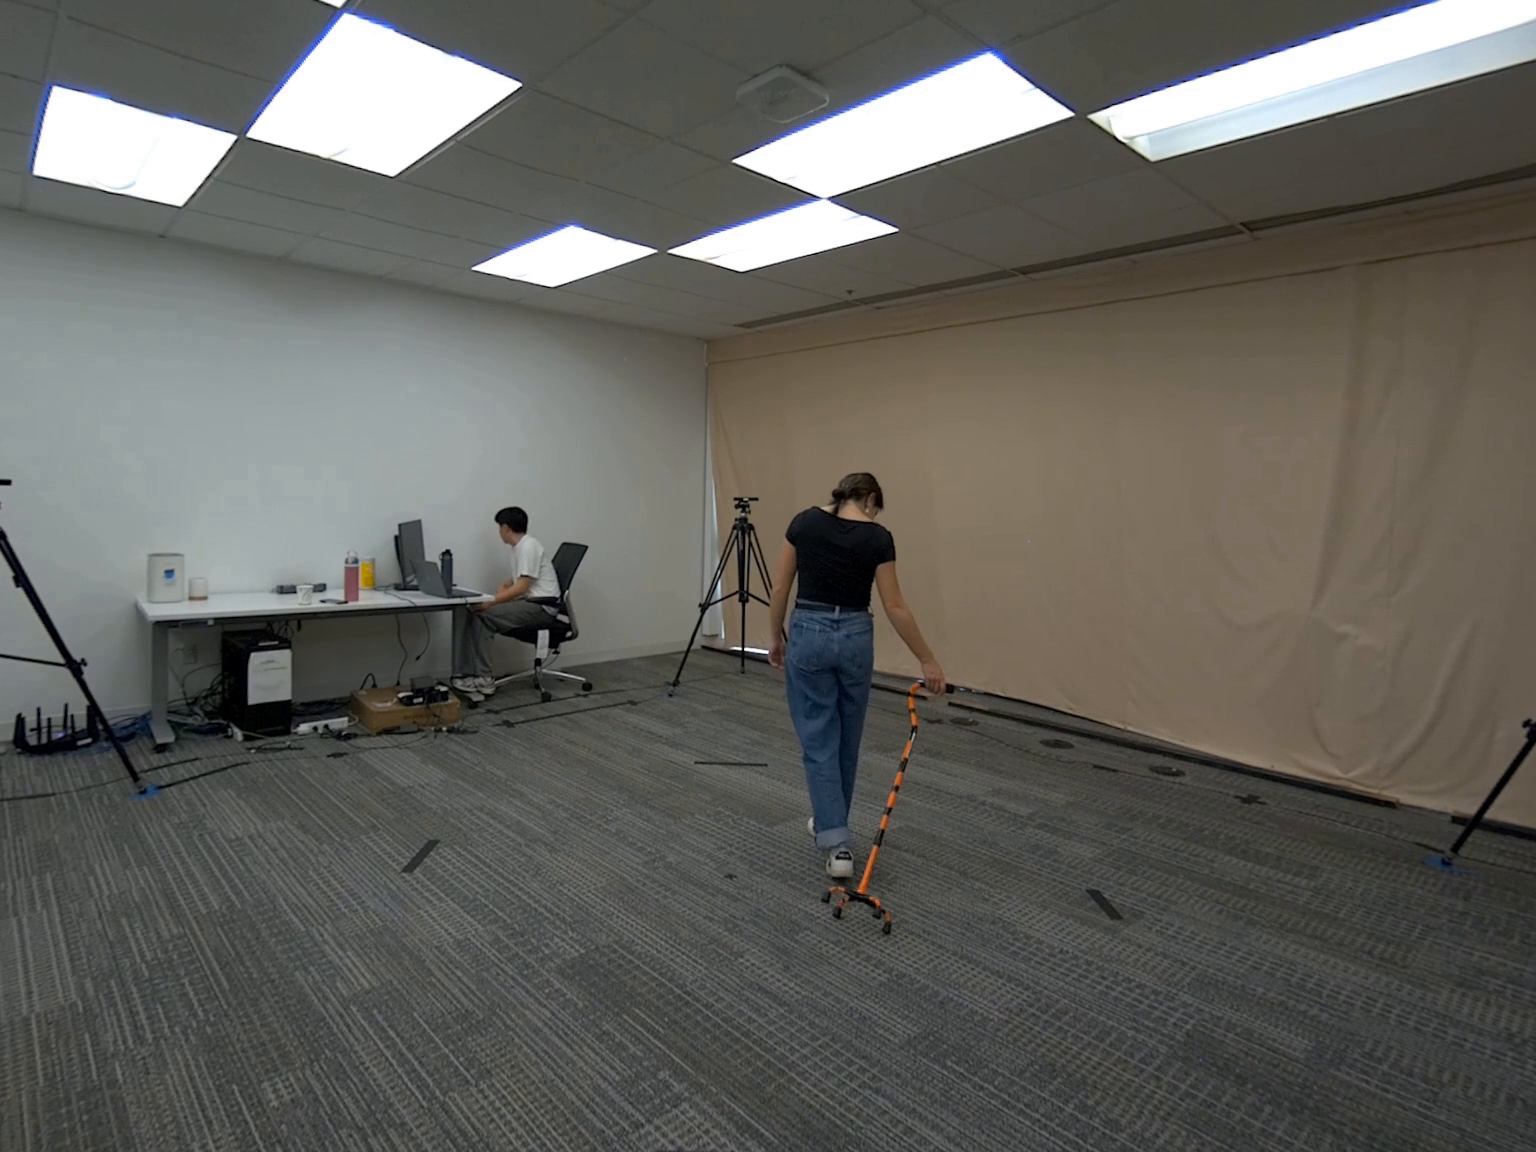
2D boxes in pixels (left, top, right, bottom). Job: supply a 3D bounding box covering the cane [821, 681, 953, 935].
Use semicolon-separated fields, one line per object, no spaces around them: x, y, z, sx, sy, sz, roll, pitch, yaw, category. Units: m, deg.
0.447;0.764;2.953;0.211;0.915;0.147;5;-39;30;cane
